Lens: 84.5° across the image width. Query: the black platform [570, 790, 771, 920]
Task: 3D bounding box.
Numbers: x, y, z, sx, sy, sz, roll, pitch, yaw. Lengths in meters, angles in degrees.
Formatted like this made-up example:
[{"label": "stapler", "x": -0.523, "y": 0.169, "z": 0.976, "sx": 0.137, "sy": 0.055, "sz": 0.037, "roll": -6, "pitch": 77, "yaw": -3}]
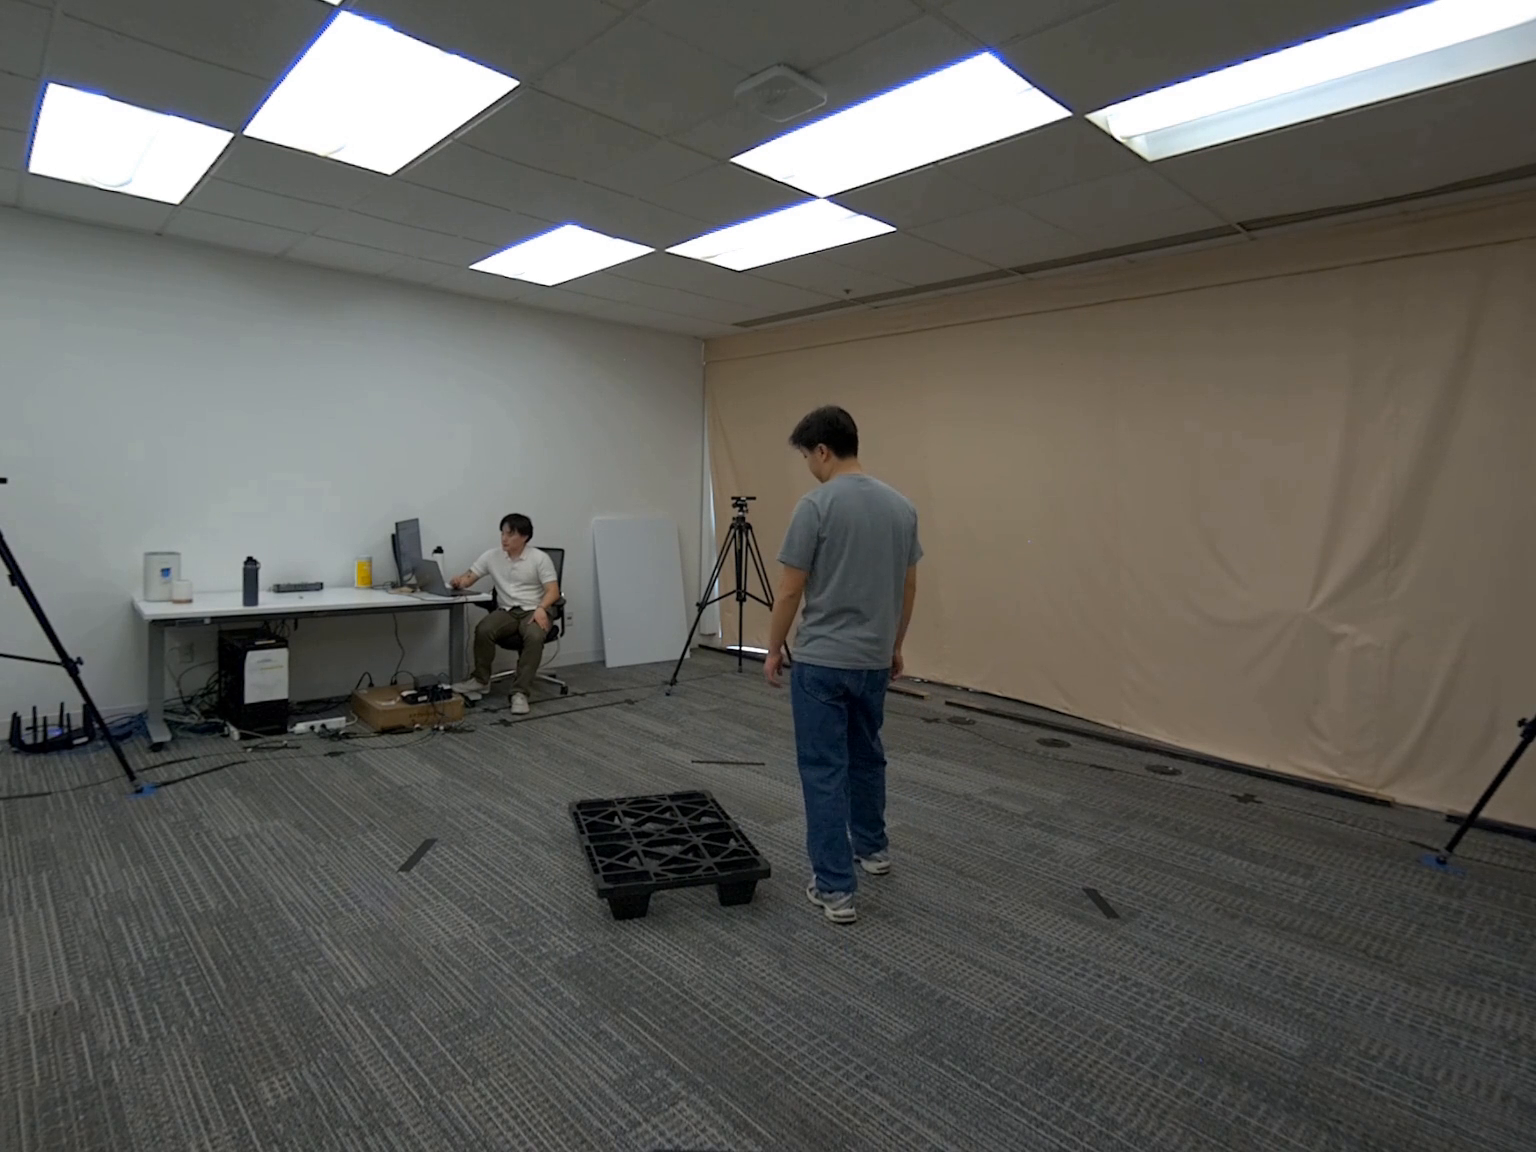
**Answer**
[{"label": "black platform", "x": -0.406, "y": 1.026, "z": 3.169, "sx": 0.596, "sy": 0.143, "sz": 0.820, "roll": 0, "pitch": 5, "yaw": -19}]
